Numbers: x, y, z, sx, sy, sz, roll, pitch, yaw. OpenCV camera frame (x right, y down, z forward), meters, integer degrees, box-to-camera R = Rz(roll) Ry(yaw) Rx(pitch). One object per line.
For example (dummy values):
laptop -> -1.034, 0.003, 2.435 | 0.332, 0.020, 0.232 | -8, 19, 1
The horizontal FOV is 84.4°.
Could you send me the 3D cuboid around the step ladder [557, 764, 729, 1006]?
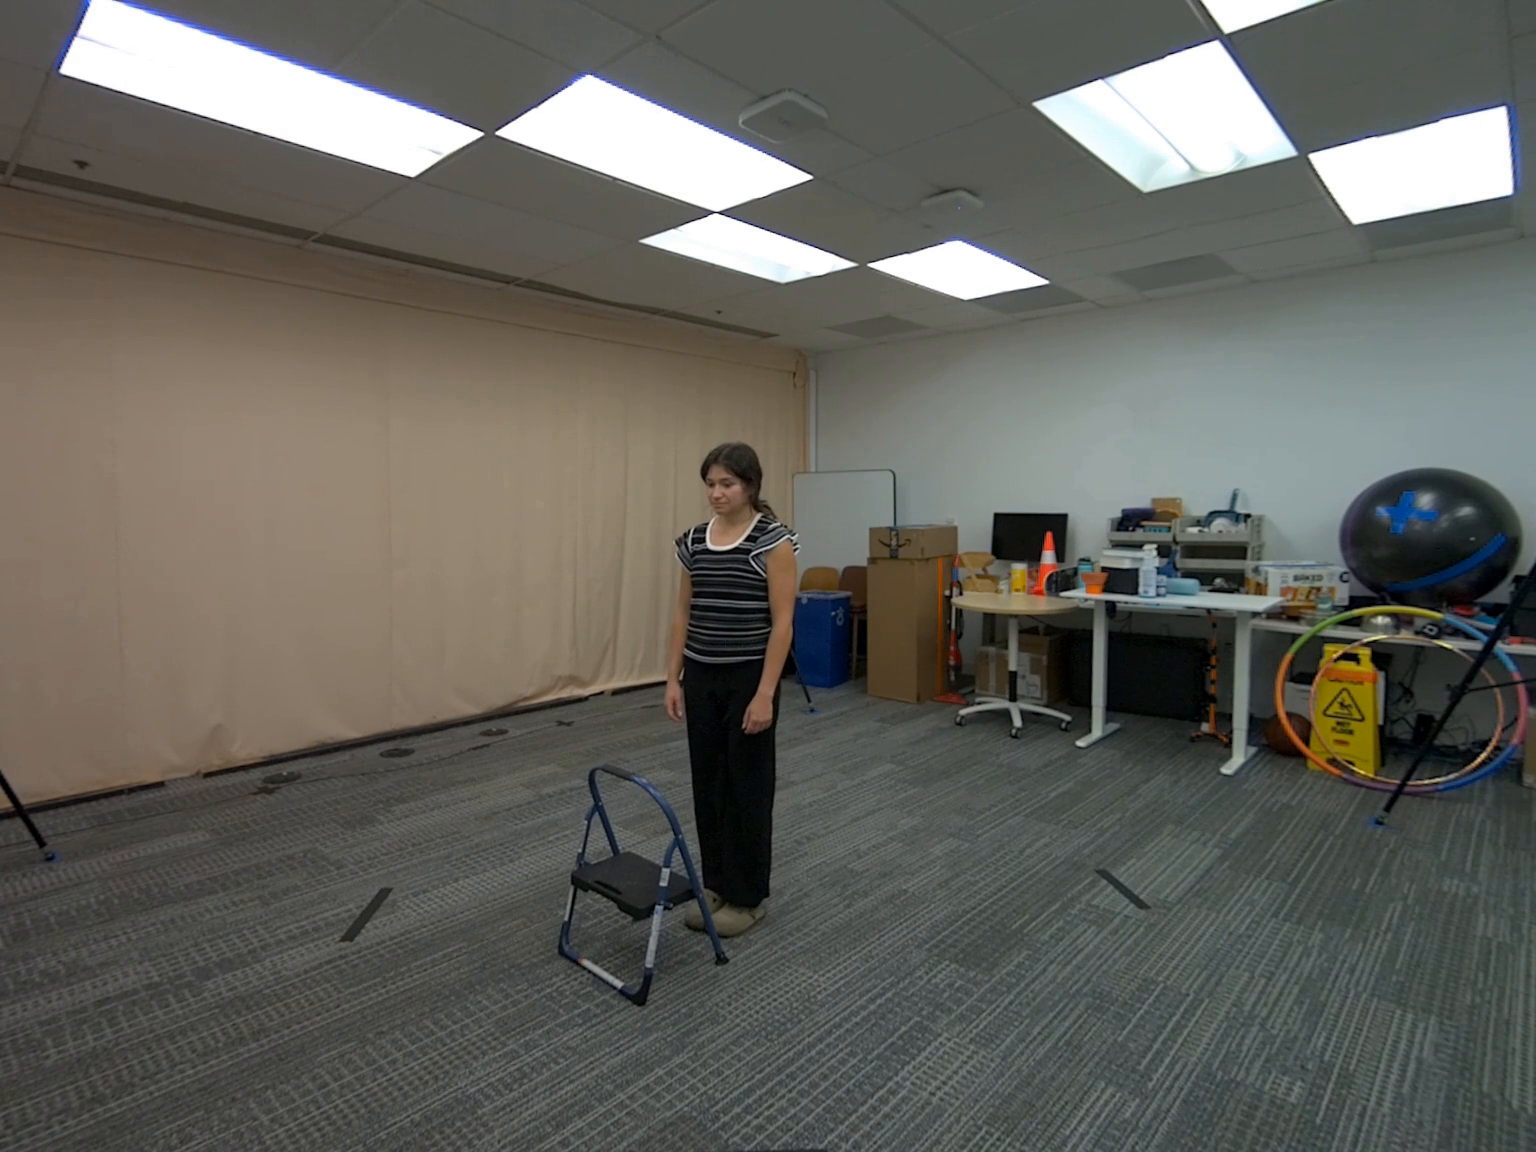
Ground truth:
step ladder -> -0.389, 0.877, 2.589 | 0.445, 0.605, 0.338 | 3, 4, 43
